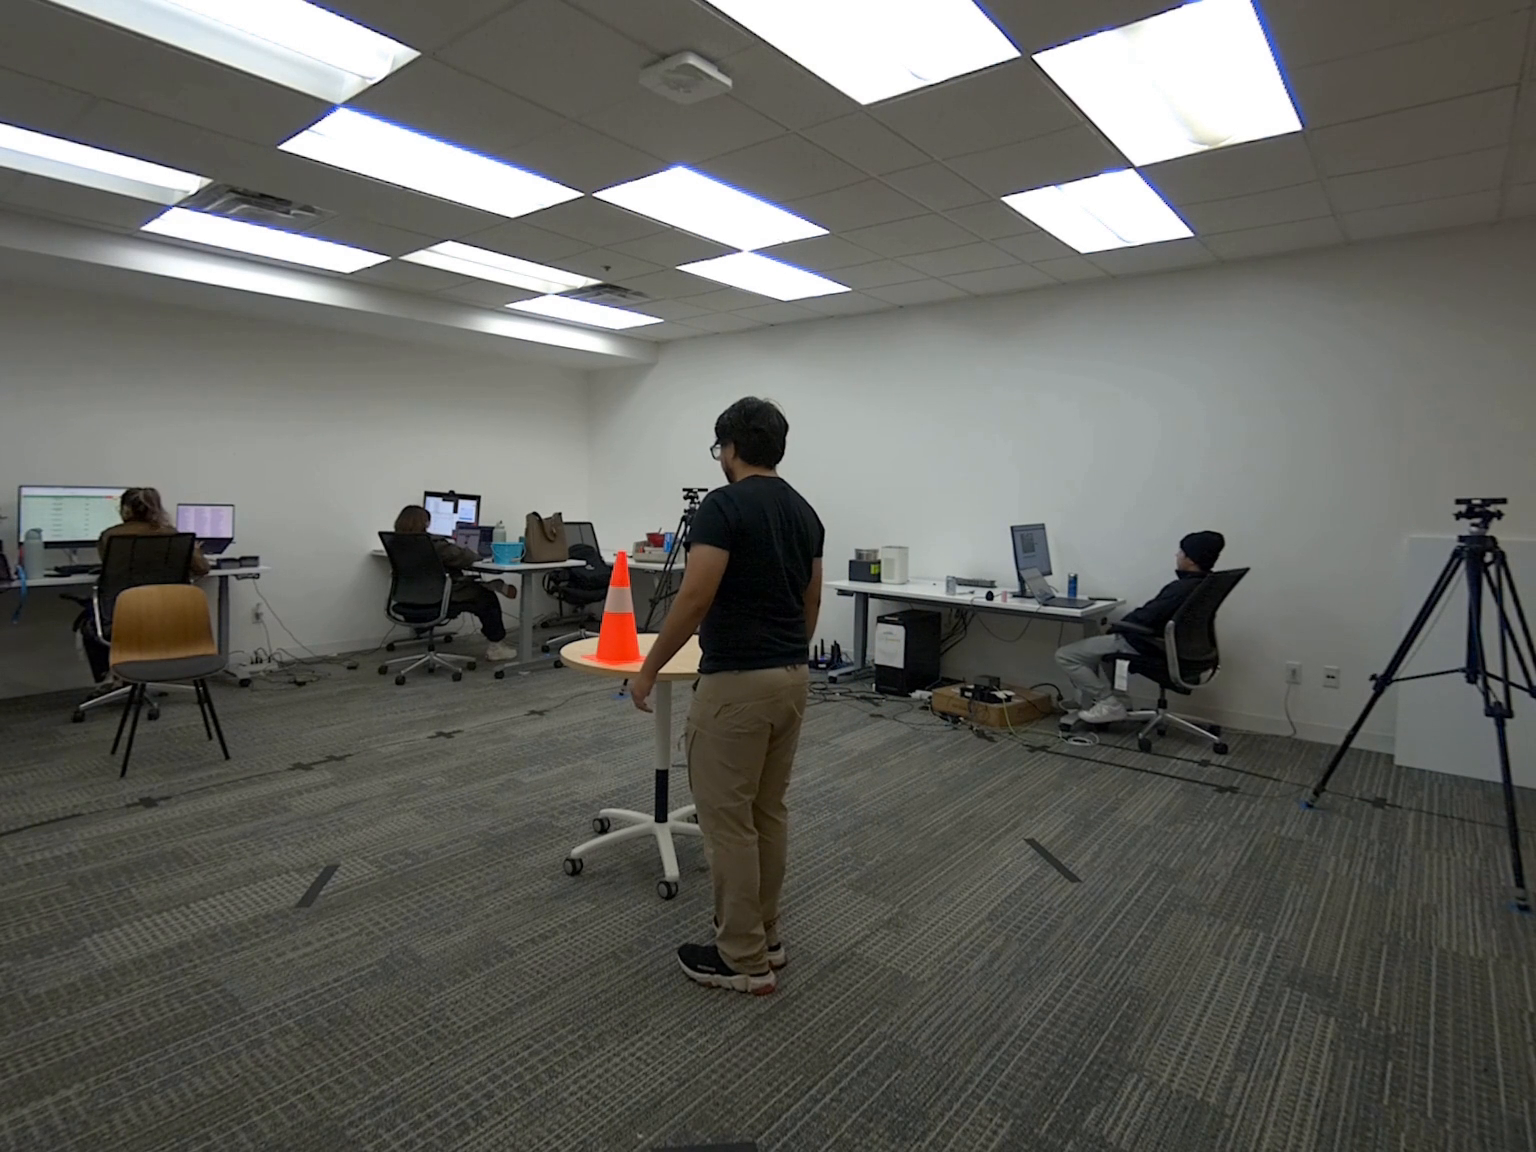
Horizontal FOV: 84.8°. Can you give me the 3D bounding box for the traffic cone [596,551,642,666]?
[{"bbox_3d":[-0.538,0.103,2.998,0.211,0.383,0.198,4,3,26],"label":"traffic cone"}]
